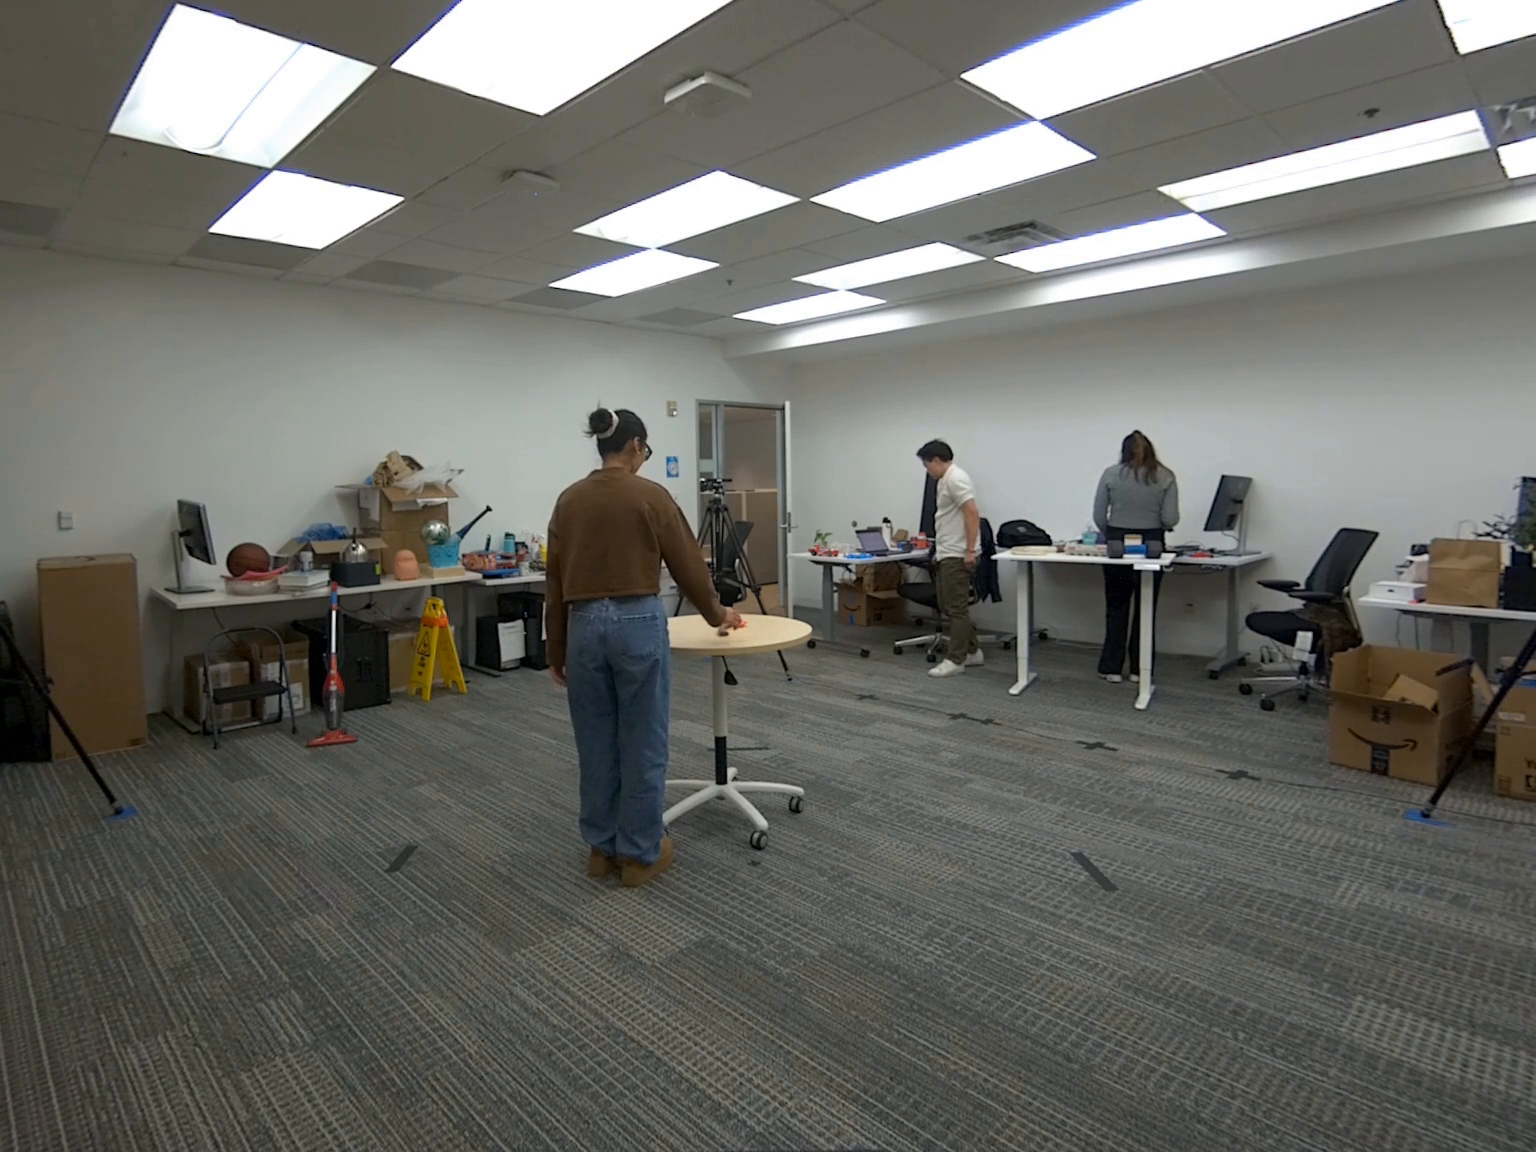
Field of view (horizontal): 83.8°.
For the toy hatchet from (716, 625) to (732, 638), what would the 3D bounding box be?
[{"bbox_3d":[-0.135,0.212,3.477,0.130,0.029,0.273,2,8,-5],"label":"toy hatchet"}]
